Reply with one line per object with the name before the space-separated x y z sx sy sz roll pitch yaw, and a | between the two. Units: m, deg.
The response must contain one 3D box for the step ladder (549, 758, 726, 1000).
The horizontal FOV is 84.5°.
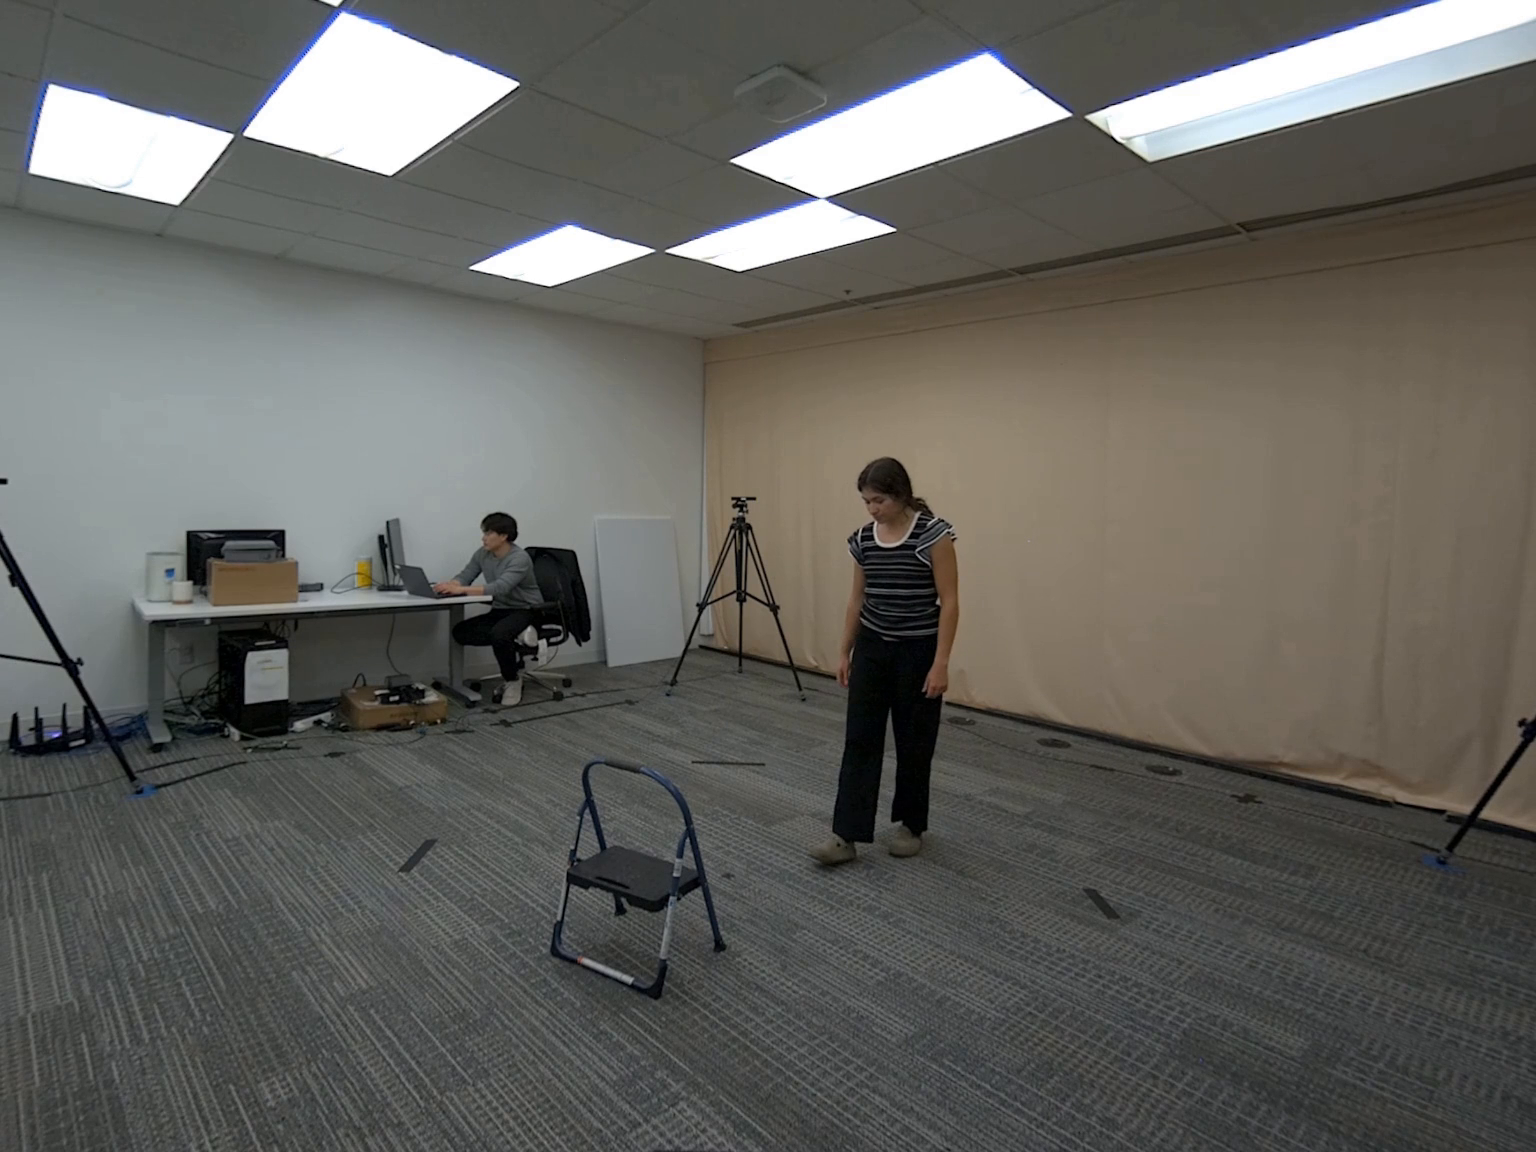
step ladder | -0.398 0.849 2.560 0.440 0.605 0.342 3 4 31
